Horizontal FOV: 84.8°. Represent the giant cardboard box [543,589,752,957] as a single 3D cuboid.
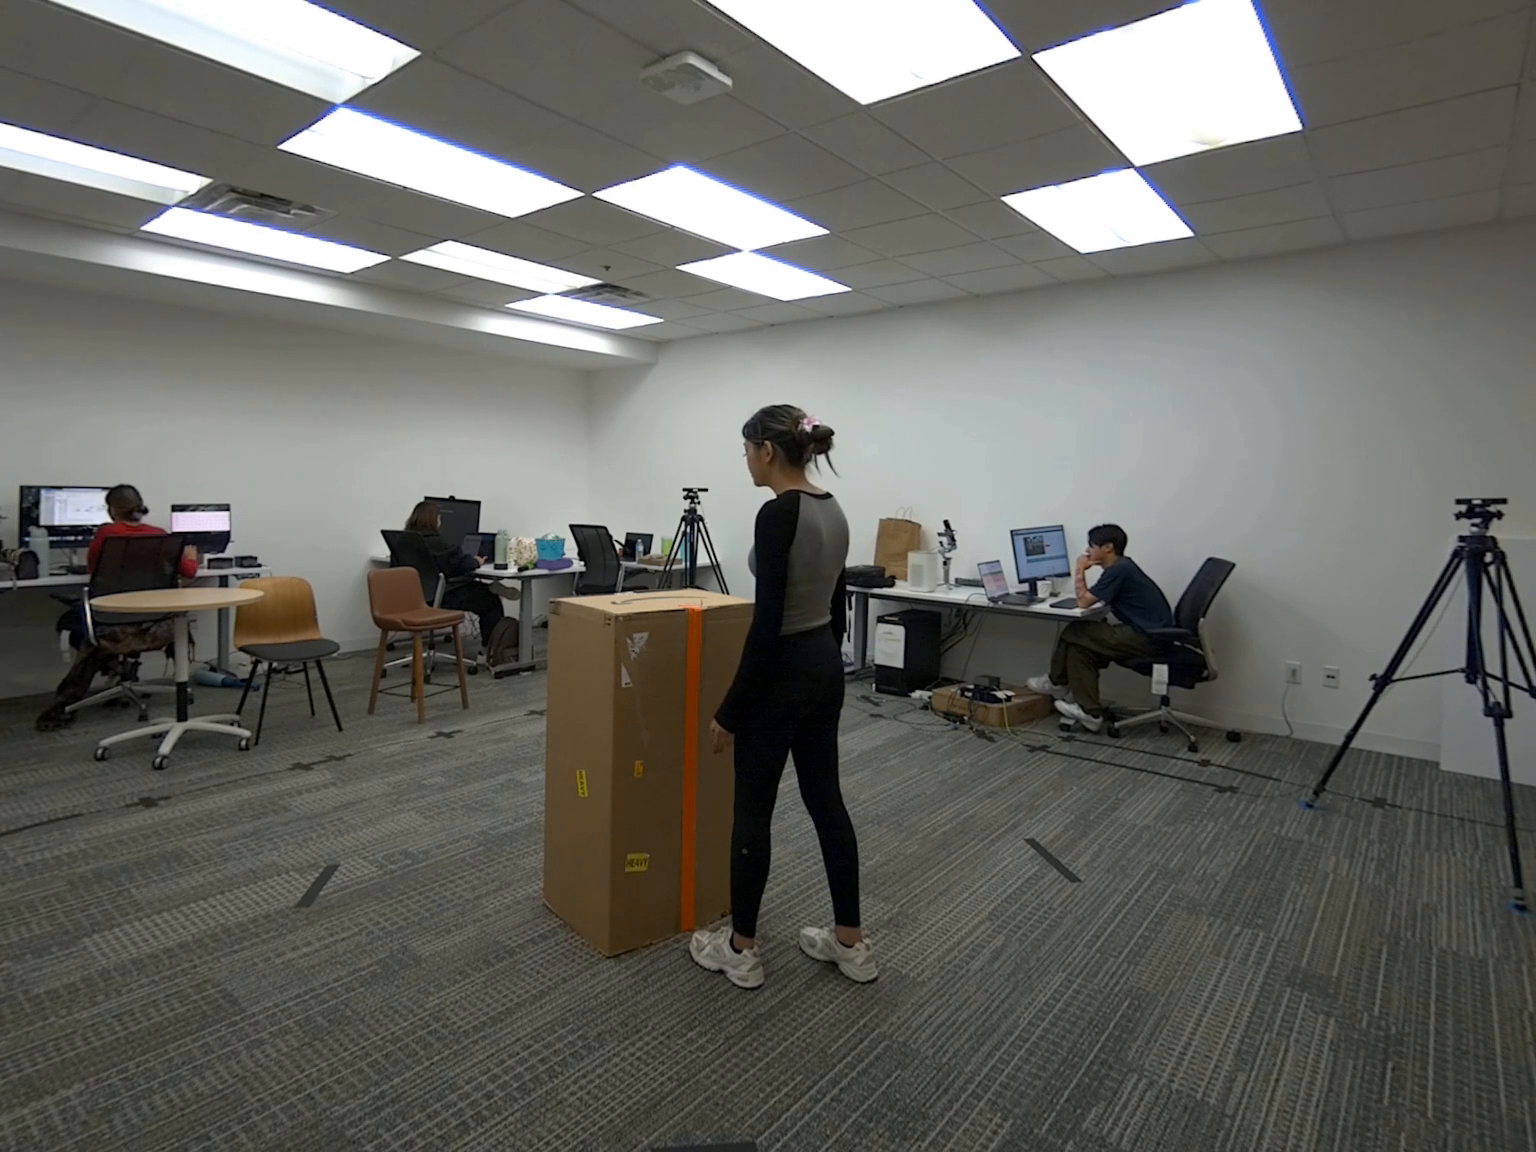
[{"bbox_3d":[-0.390,0.587,2.814,0.566,1.025,0.462,-1,3,-41],"label":"giant cardboard box"}]
